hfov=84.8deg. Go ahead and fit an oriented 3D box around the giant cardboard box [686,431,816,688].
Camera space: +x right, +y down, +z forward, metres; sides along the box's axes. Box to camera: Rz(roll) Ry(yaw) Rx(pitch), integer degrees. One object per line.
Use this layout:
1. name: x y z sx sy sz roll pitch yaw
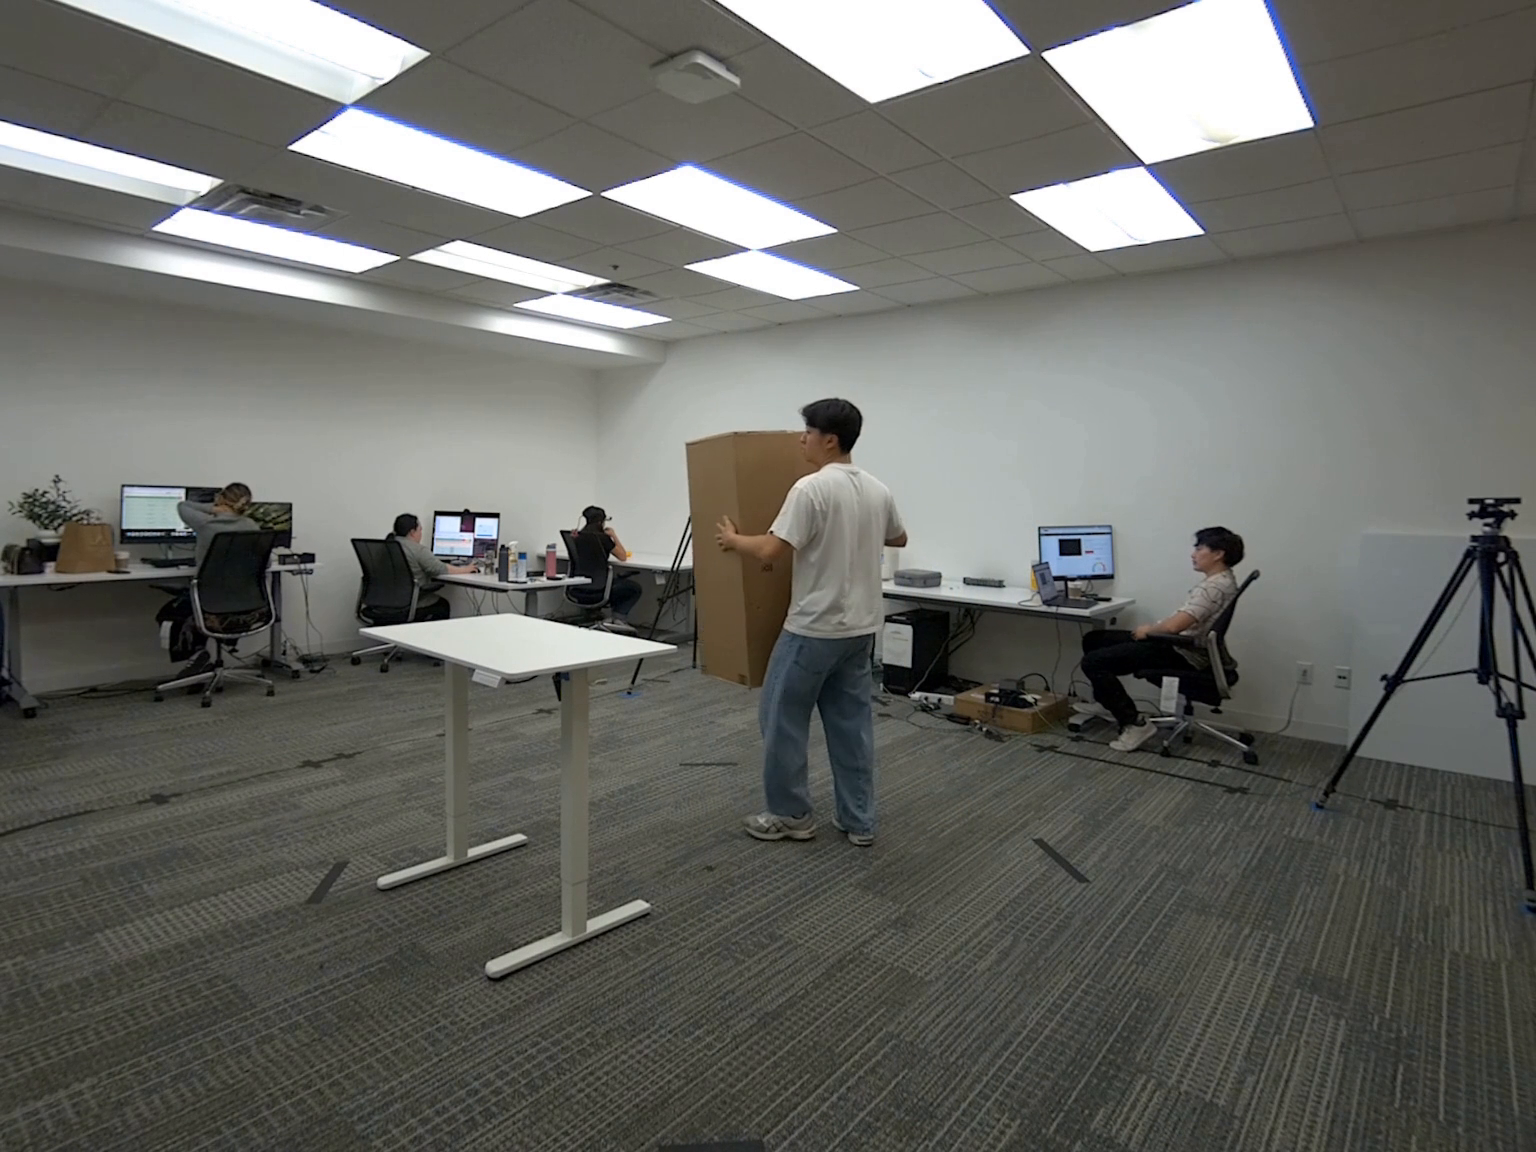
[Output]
1. giant cardboard box: 0.007 -0.096 3.664 0.563 1.023 0.438 -5 3 -30
